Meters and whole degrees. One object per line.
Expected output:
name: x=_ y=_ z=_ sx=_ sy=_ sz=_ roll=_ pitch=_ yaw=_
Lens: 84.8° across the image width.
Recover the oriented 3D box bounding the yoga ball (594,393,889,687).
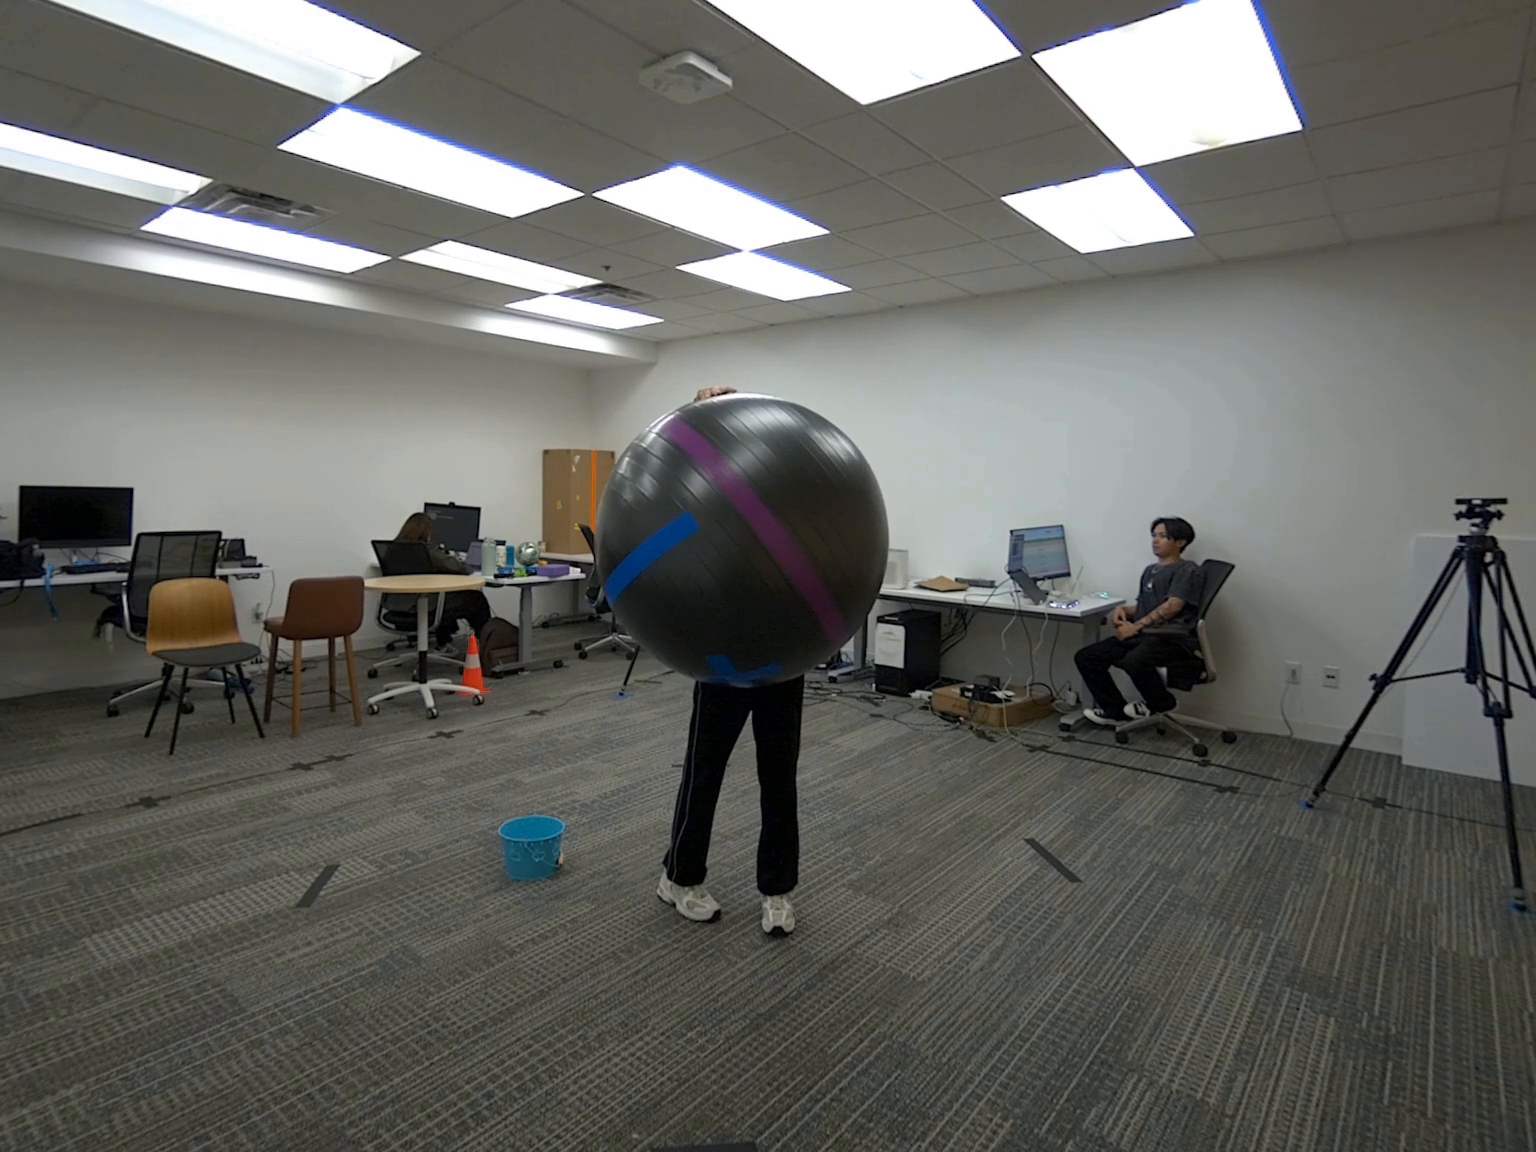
yoga ball: x=-0.075 y=-0.088 z=2.222 sx=0.757 sy=0.755 sz=0.762 roll=1 pitch=4 yaw=-2
